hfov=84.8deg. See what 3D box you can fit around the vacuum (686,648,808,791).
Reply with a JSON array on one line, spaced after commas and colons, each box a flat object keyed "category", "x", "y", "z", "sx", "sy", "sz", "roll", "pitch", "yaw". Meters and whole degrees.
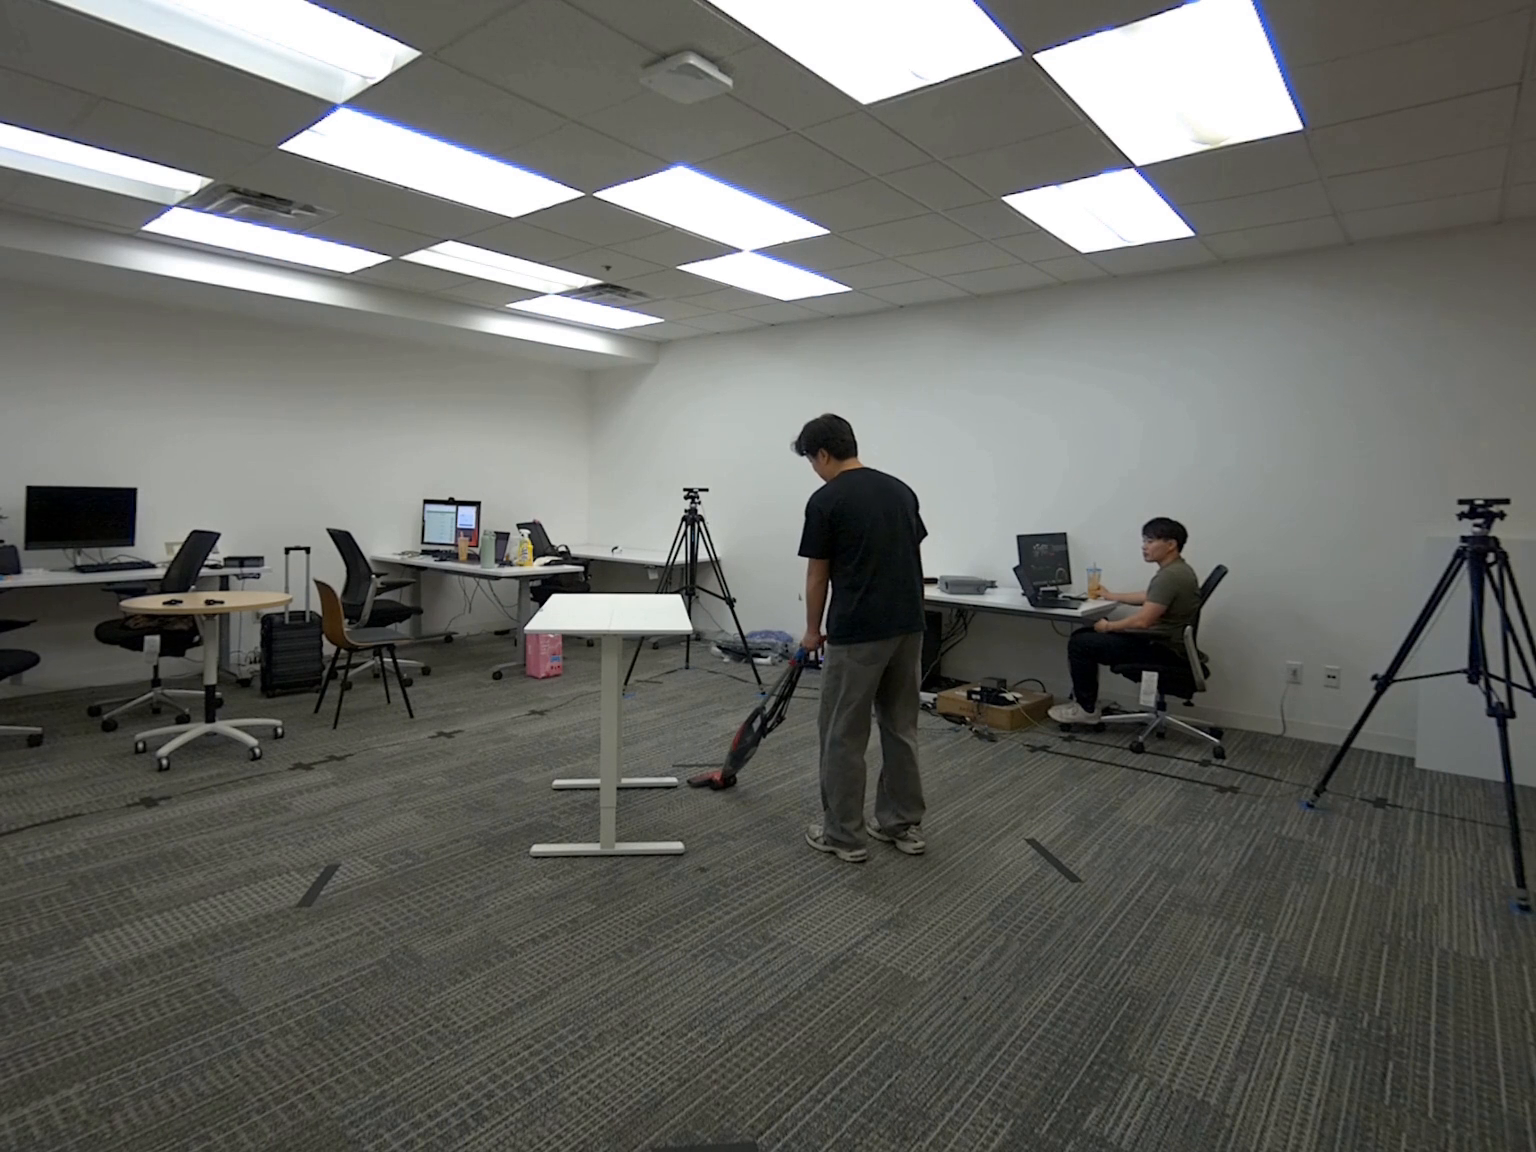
[{"category": "vacuum", "x": -0.012, "y": 0.612, "z": 3.720, "sx": 0.245, "sy": 1.042, "sz": 0.149, "roll": -4, "pitch": 49, "yaw": -42}]
